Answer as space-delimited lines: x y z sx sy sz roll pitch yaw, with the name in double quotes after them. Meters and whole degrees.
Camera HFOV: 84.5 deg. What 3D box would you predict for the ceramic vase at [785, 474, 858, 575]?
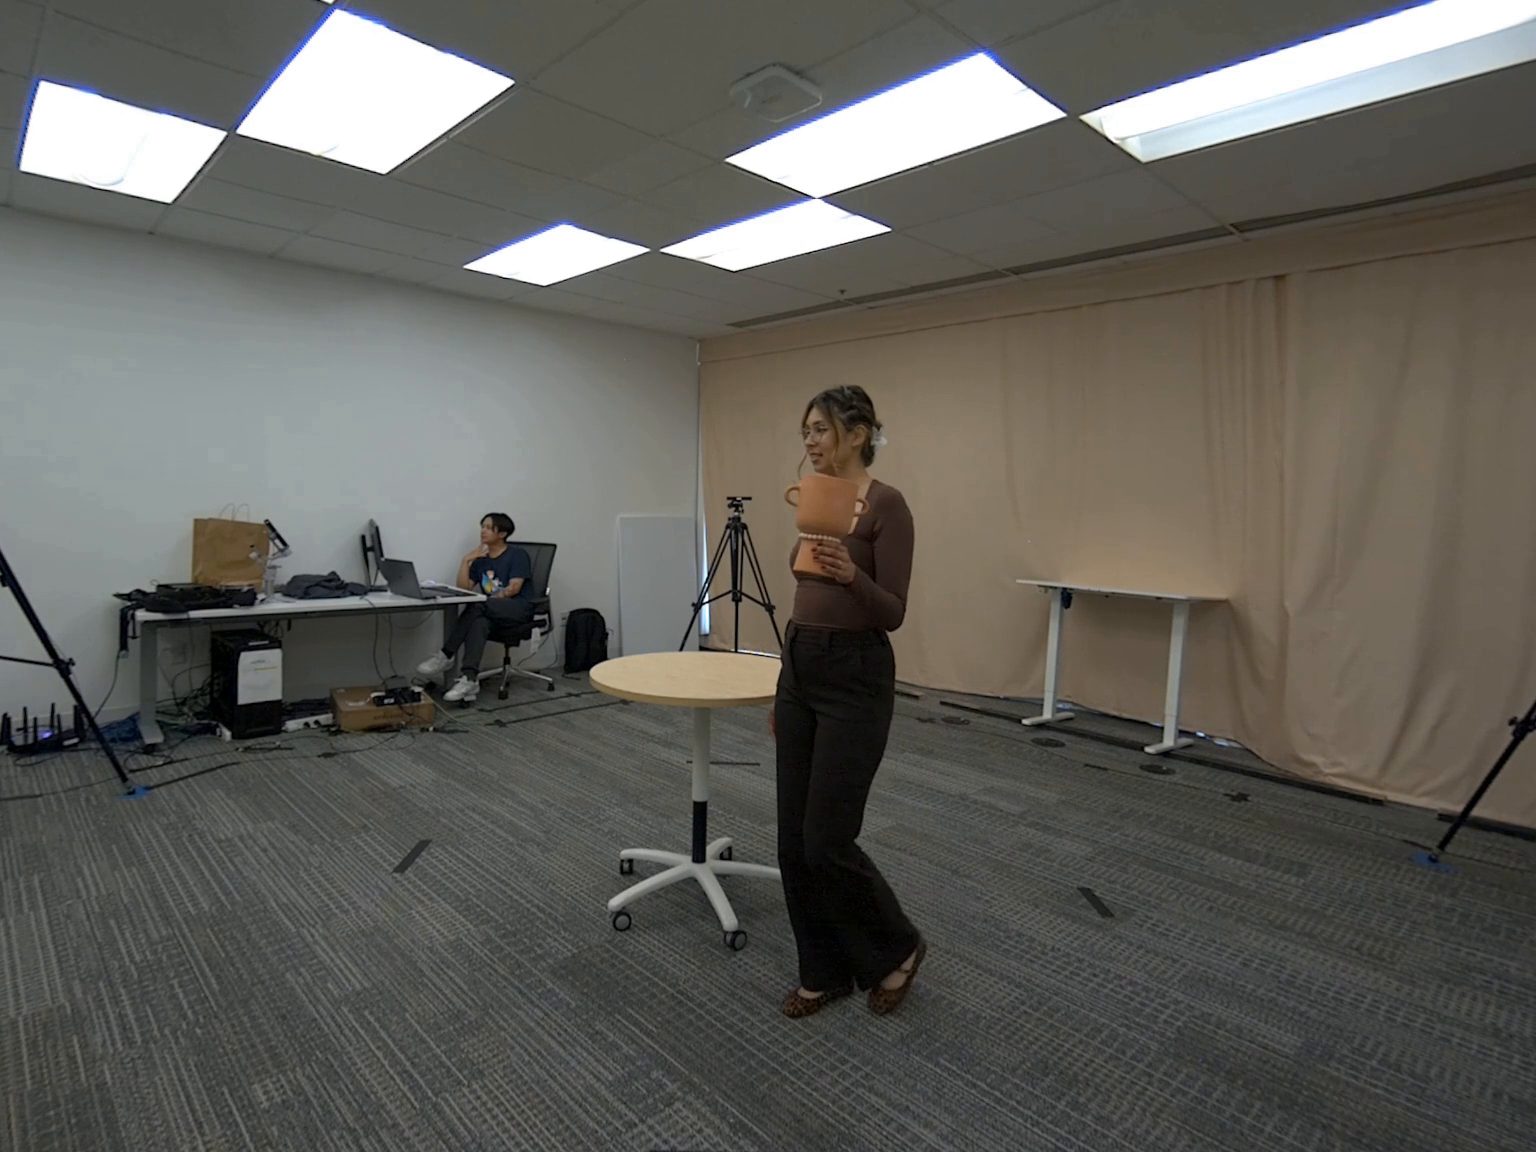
0.121 -0.111 1.935 0.163 0.220 0.131 8 -3 38 "ceramic vase"
